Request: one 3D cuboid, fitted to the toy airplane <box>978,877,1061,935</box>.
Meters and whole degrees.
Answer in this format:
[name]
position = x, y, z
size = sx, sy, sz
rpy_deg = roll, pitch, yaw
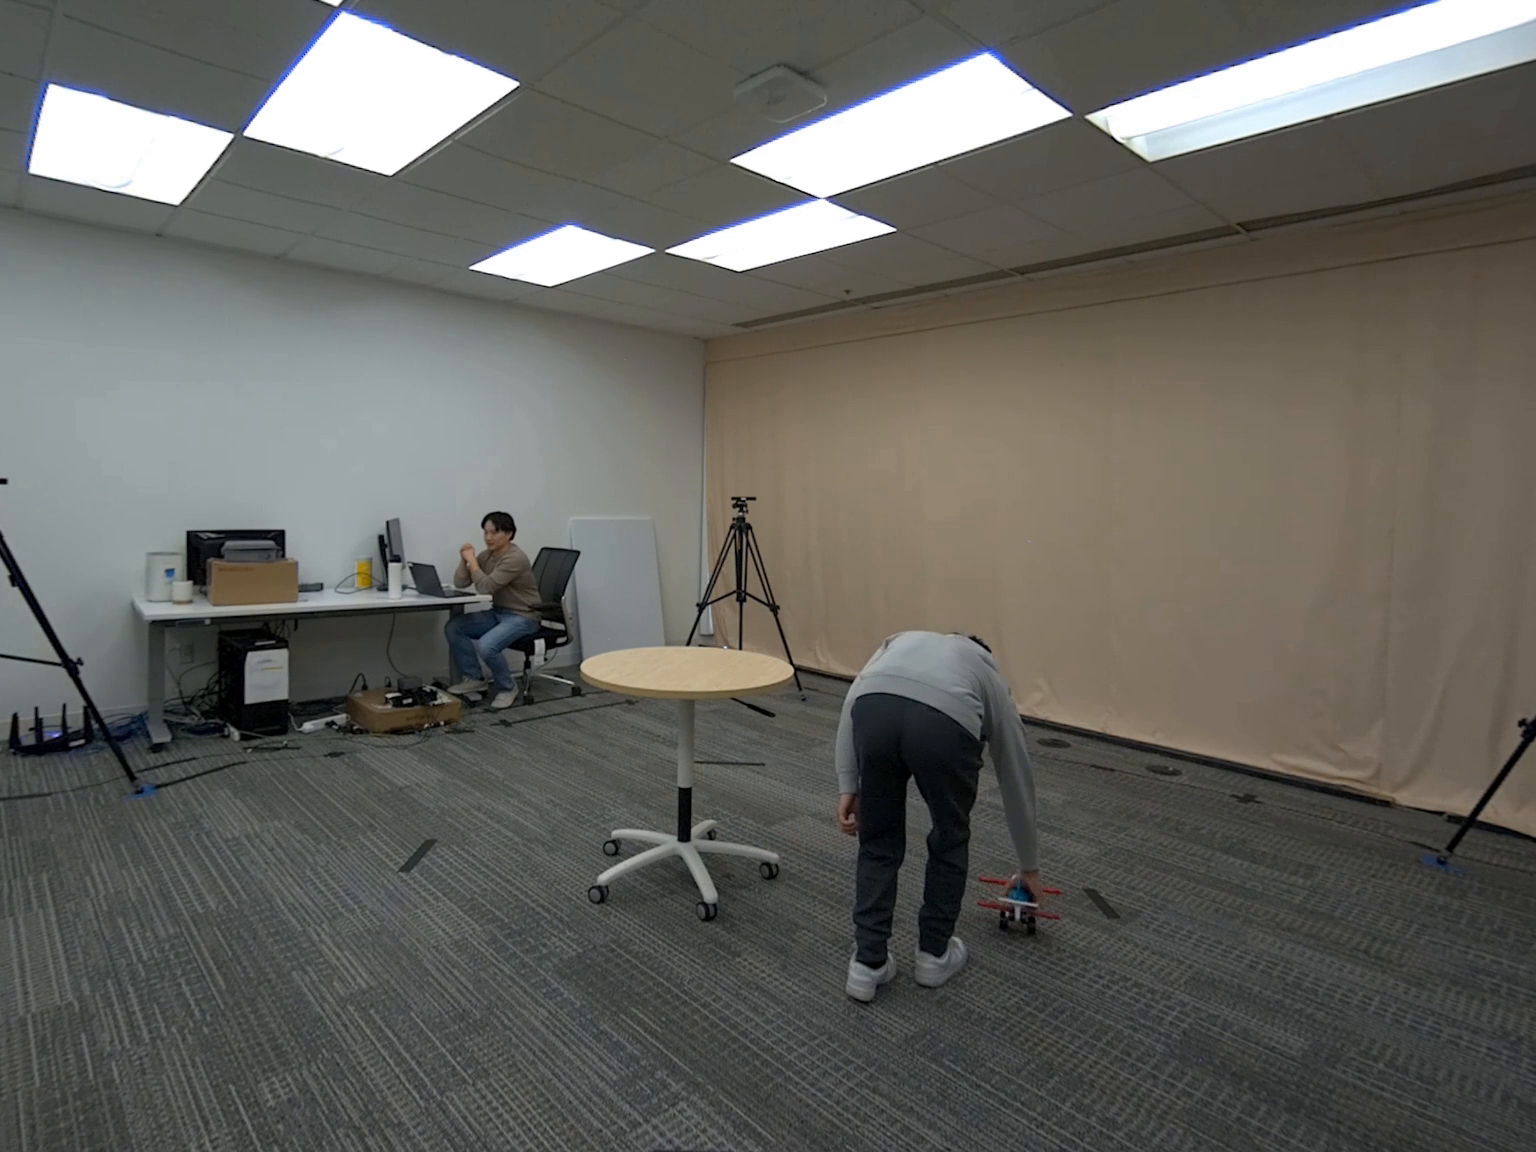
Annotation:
[toy airplane]
position = 0.817, 1.058, 2.708
size = 0.250, 0.158, 0.257
rpy_deg = 16, -29, -6
